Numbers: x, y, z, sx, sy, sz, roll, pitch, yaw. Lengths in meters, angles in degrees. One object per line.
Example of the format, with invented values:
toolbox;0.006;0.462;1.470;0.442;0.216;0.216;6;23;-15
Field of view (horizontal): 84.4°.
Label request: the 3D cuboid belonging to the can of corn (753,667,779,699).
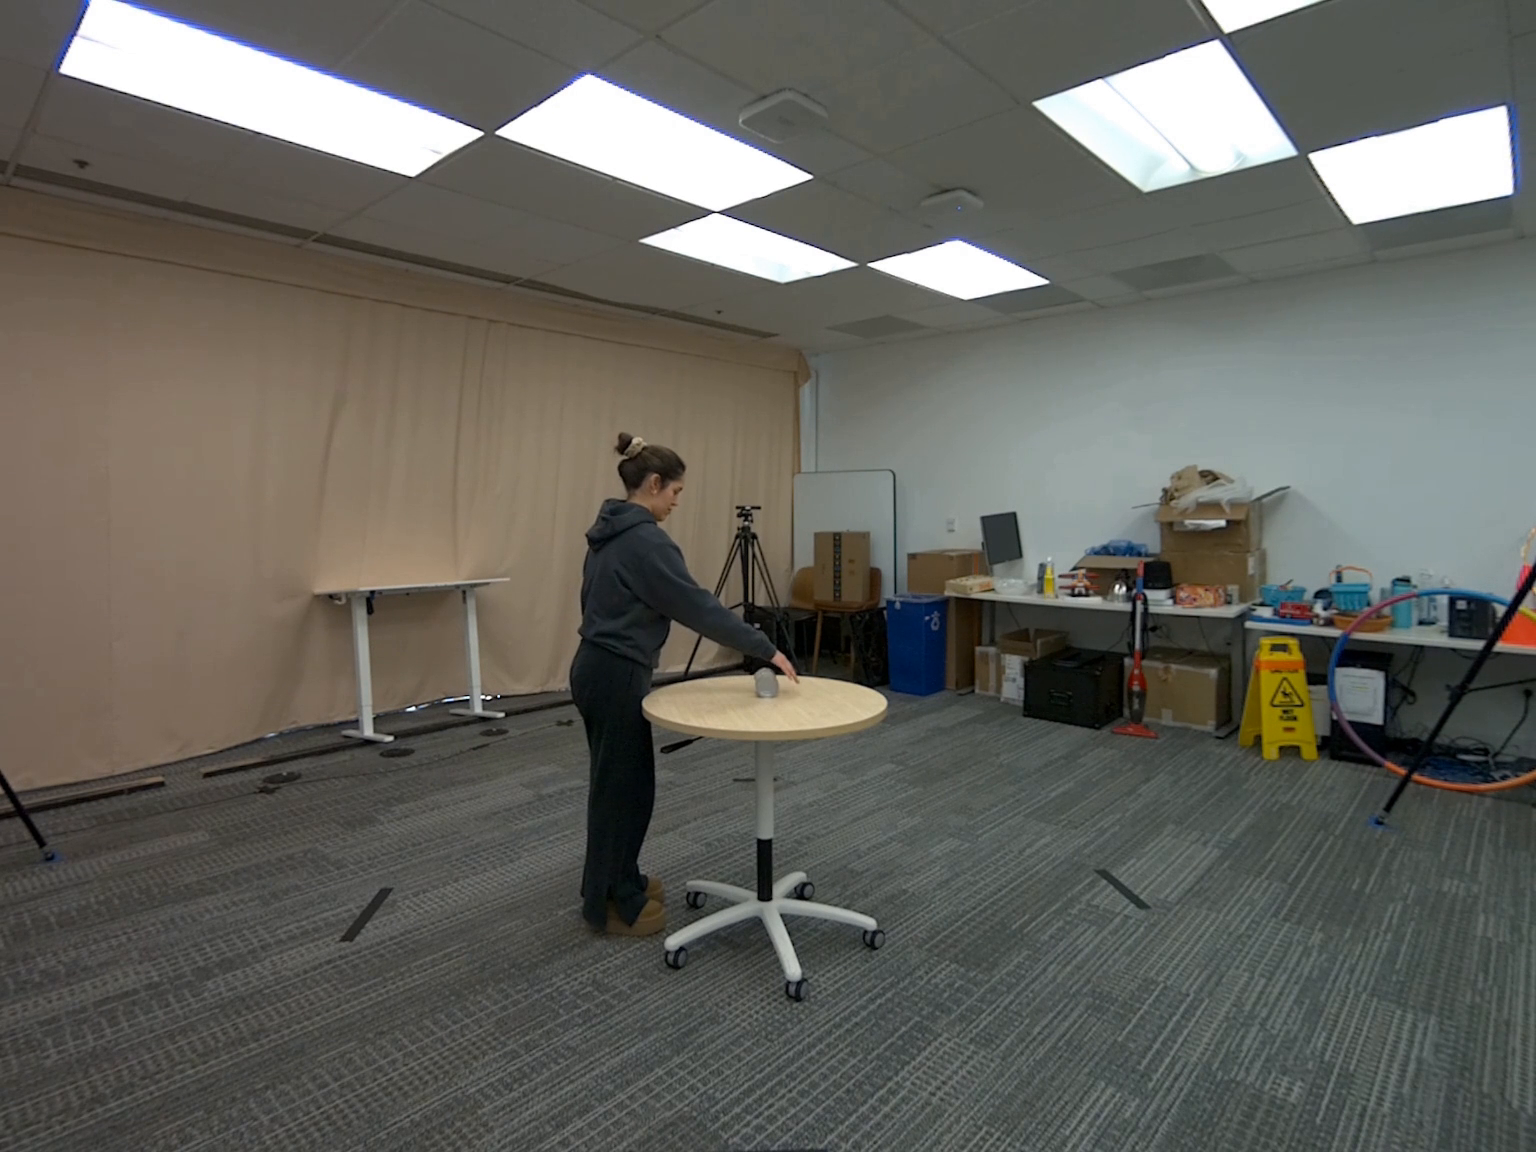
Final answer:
can of corn;0.005;0.345;2.714;0.074;0.074;0.111;0;4;1
